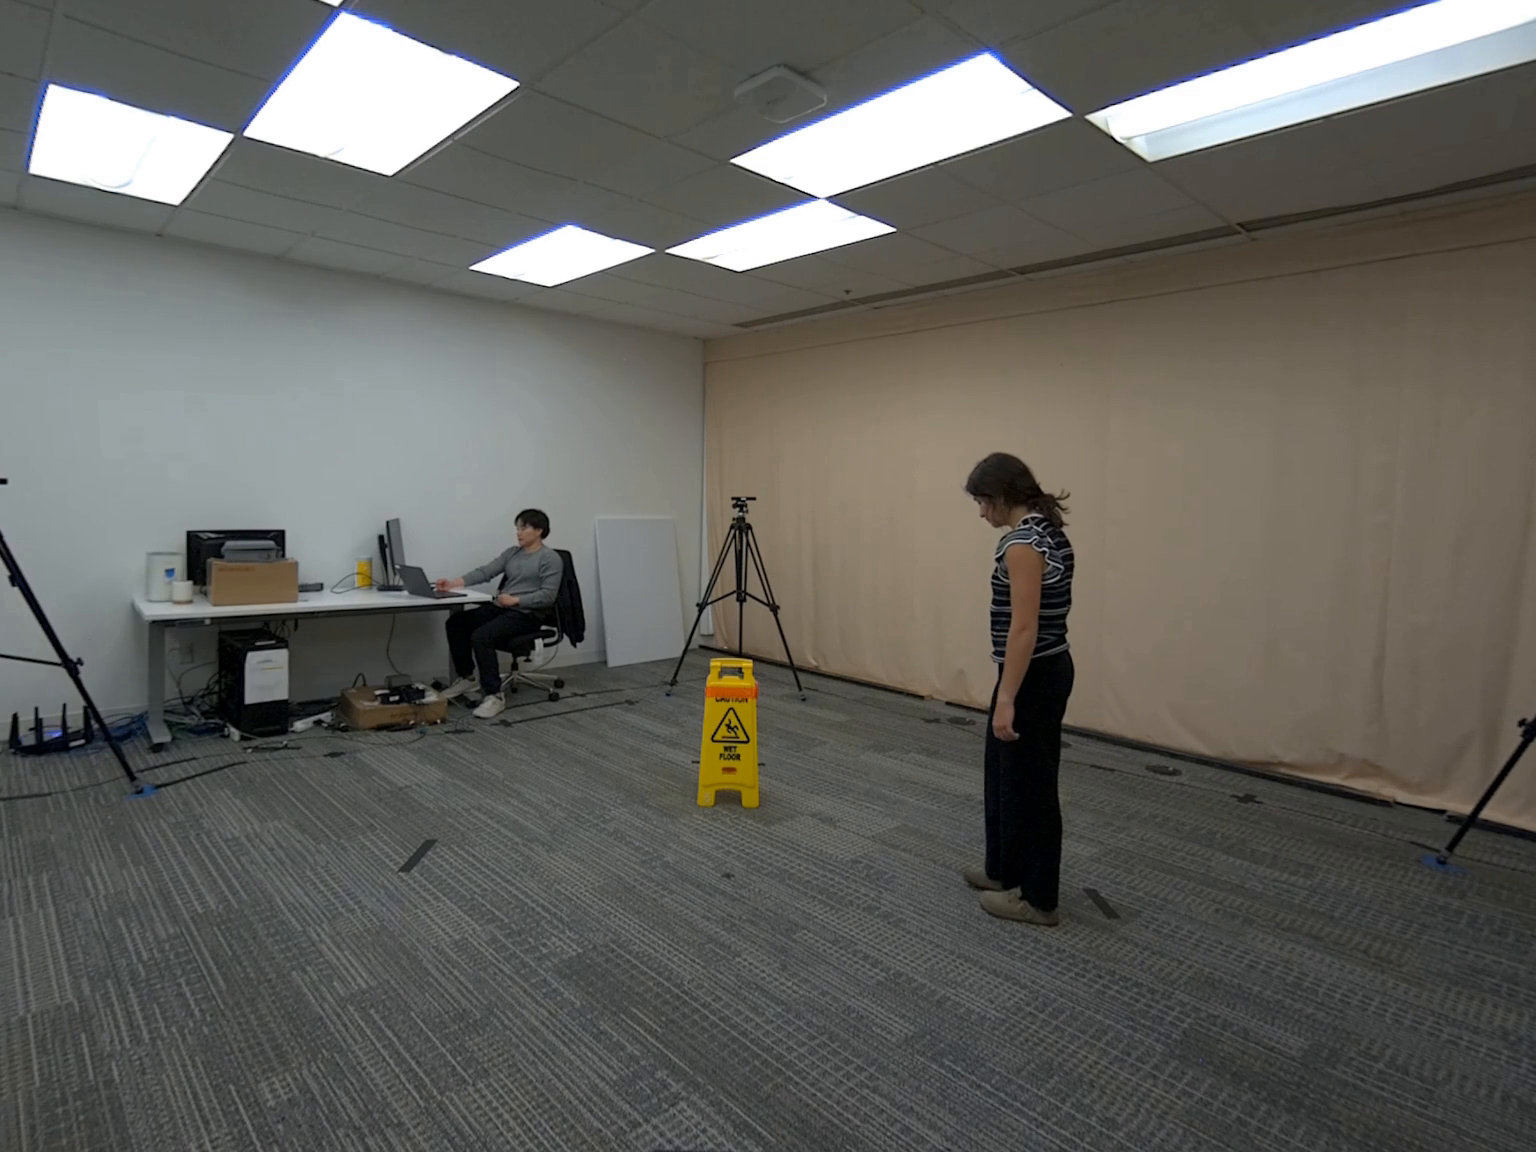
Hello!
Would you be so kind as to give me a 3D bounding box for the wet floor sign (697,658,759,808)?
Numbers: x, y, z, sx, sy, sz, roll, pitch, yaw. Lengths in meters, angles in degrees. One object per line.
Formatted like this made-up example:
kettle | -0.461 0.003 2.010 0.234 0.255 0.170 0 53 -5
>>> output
wet floor sign | -0.186 0.709 3.927 0.282 0.644 0.291 3 3 -2
